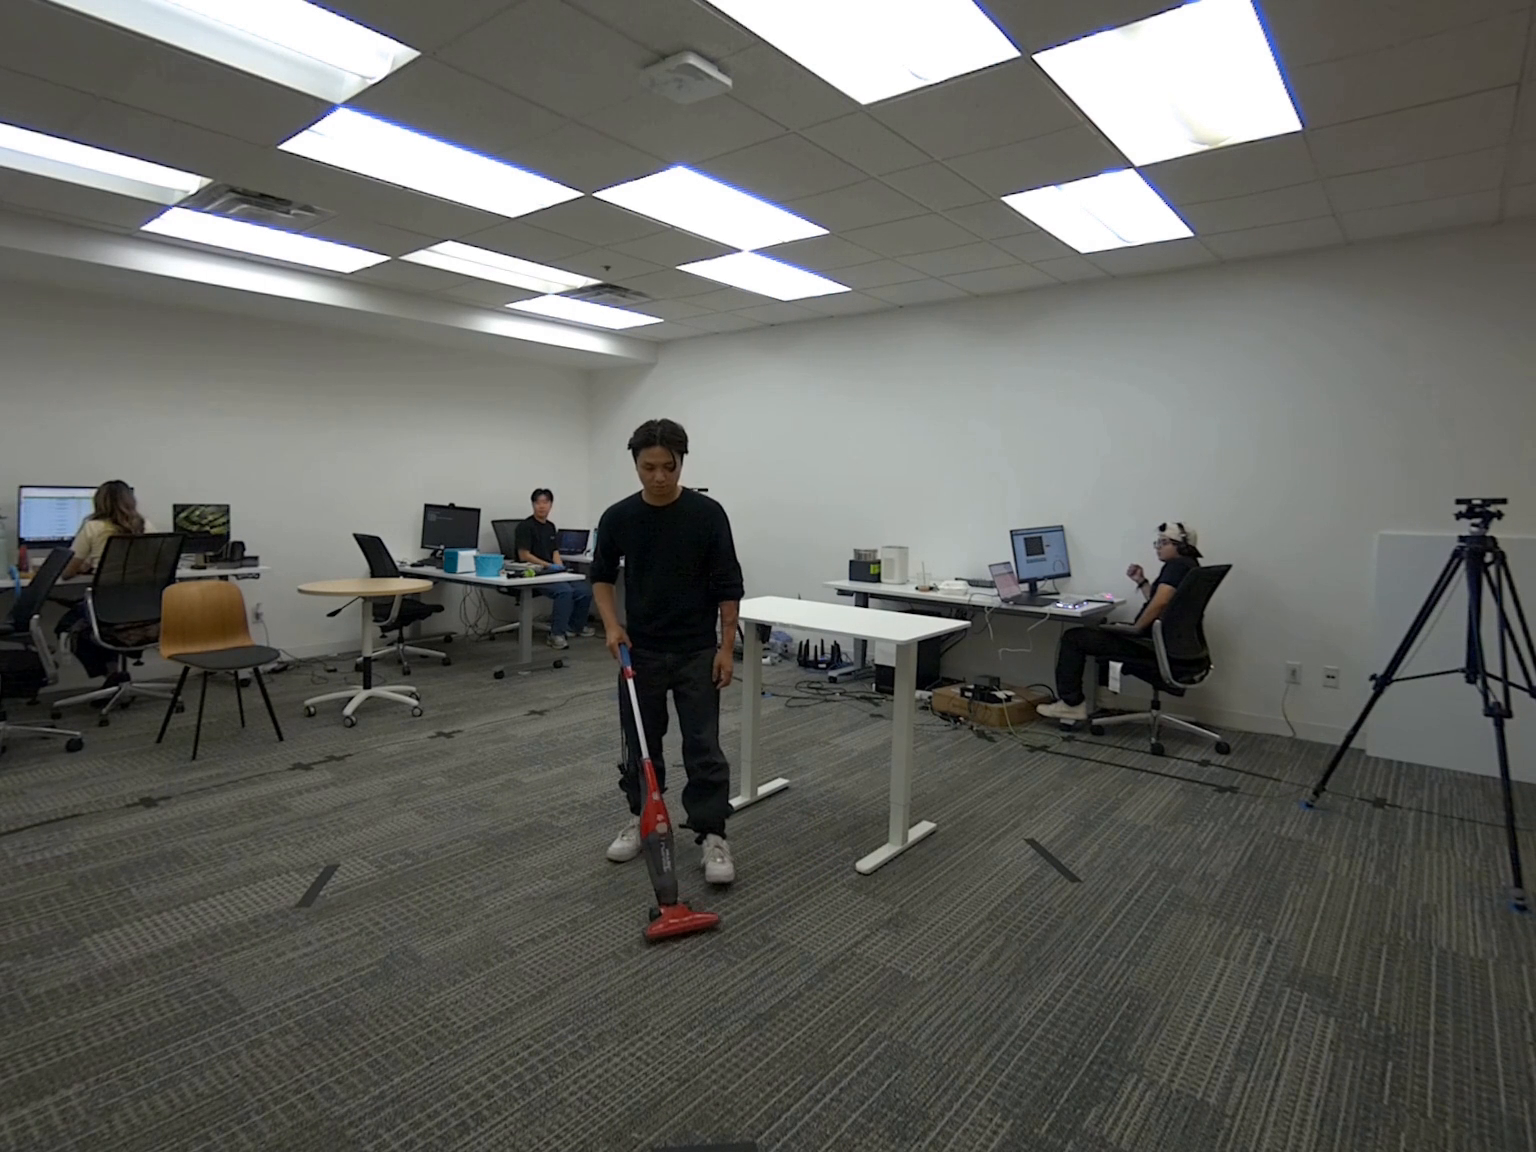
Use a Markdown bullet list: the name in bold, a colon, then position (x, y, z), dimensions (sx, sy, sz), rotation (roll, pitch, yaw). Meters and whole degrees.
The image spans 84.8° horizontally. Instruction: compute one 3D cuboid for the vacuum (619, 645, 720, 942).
- **vacuum**: position (-0.433, 0.663, 2.925), dimensions (0.246, 1.083, 0.143), rotation (-2, -33, -29)
